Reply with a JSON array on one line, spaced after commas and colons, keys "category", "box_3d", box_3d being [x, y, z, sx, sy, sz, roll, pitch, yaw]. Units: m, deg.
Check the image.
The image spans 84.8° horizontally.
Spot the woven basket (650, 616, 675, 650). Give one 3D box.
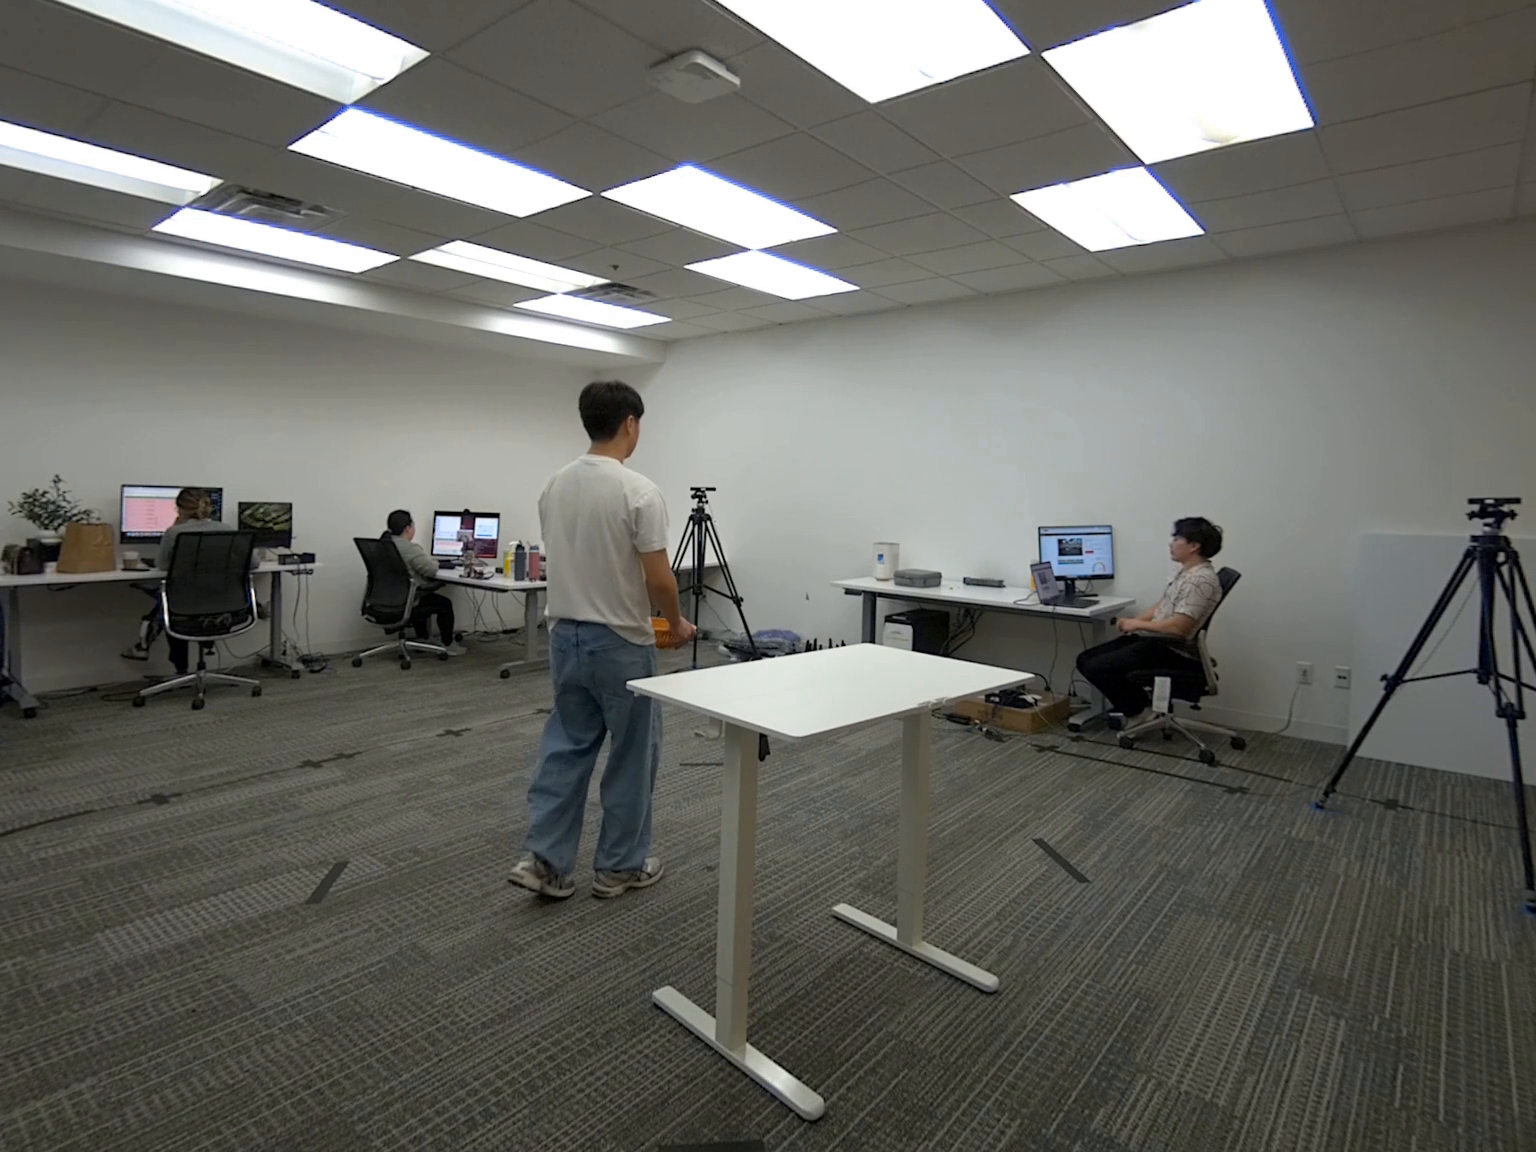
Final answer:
[{"category": "woven basket", "box_3d": [-0.448, 0.208, 3.121, 0.362, 0.073, 0.245, 5, 4, 34]}]
